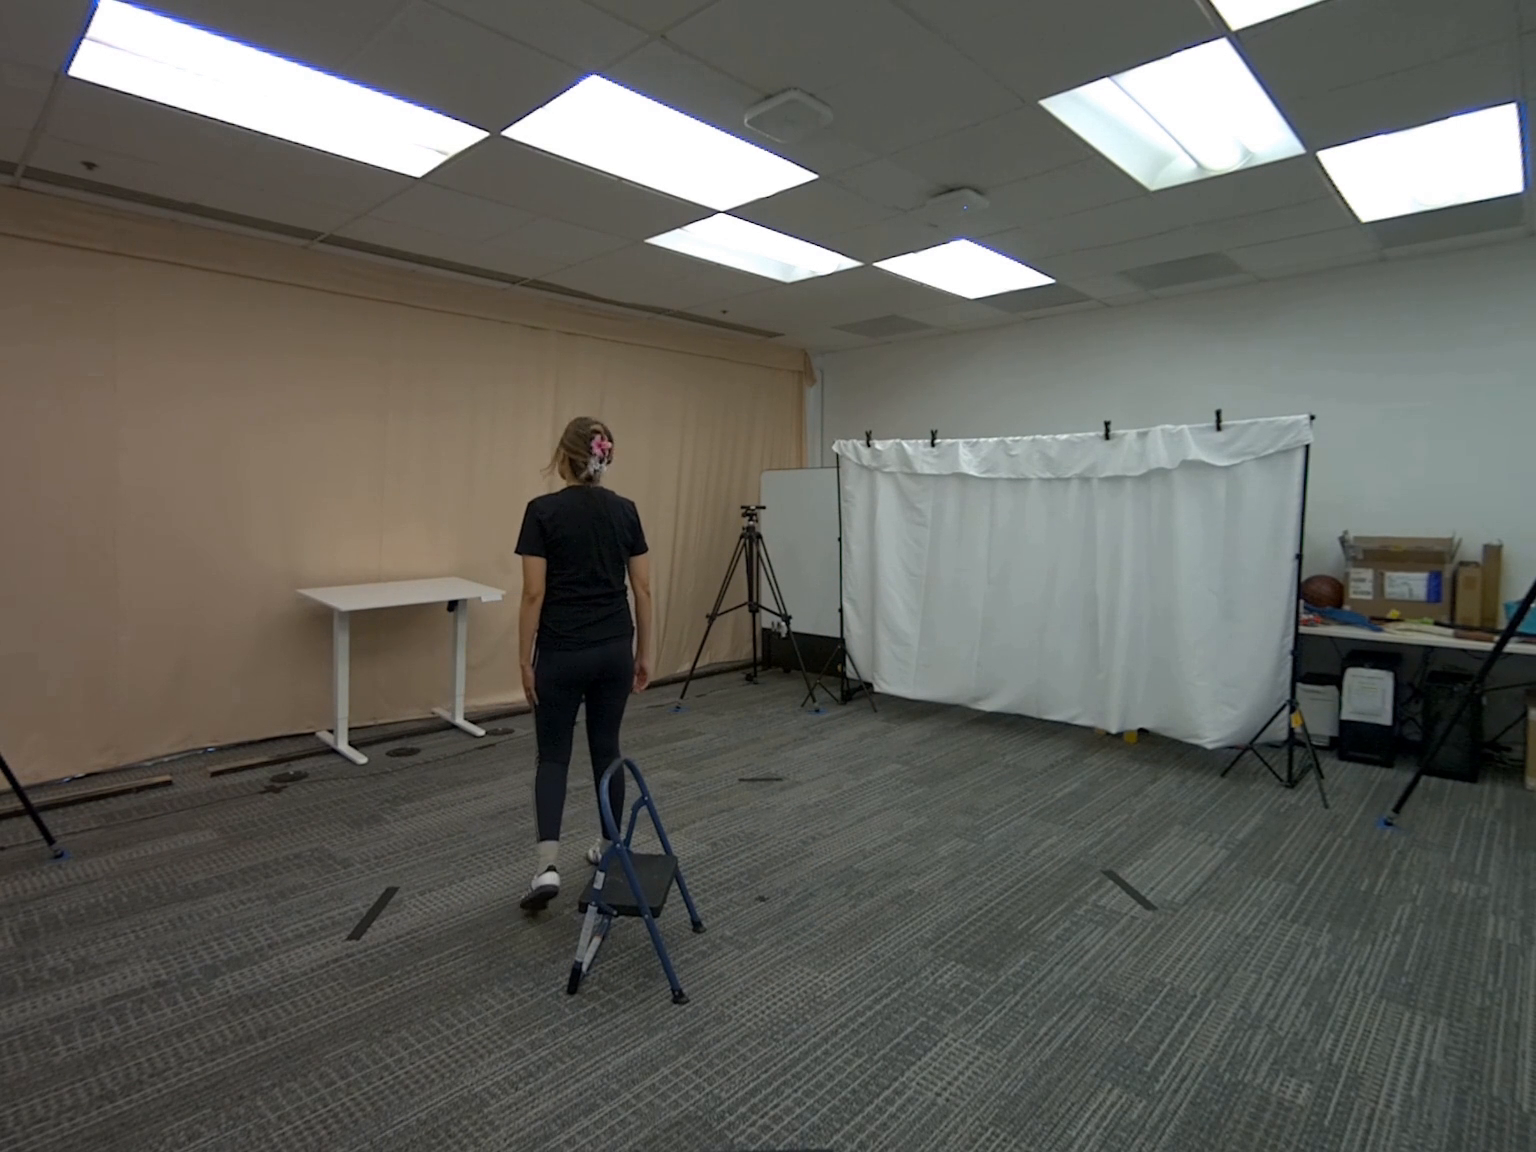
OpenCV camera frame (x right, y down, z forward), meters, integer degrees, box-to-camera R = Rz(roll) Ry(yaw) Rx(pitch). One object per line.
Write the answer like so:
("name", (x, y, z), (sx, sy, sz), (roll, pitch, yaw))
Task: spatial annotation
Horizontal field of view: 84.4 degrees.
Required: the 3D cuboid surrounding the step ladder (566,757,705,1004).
("step ladder", (-0.390, 0.882, 2.568), (0.351, 0.605, 0.429), (1, 3, 4))
